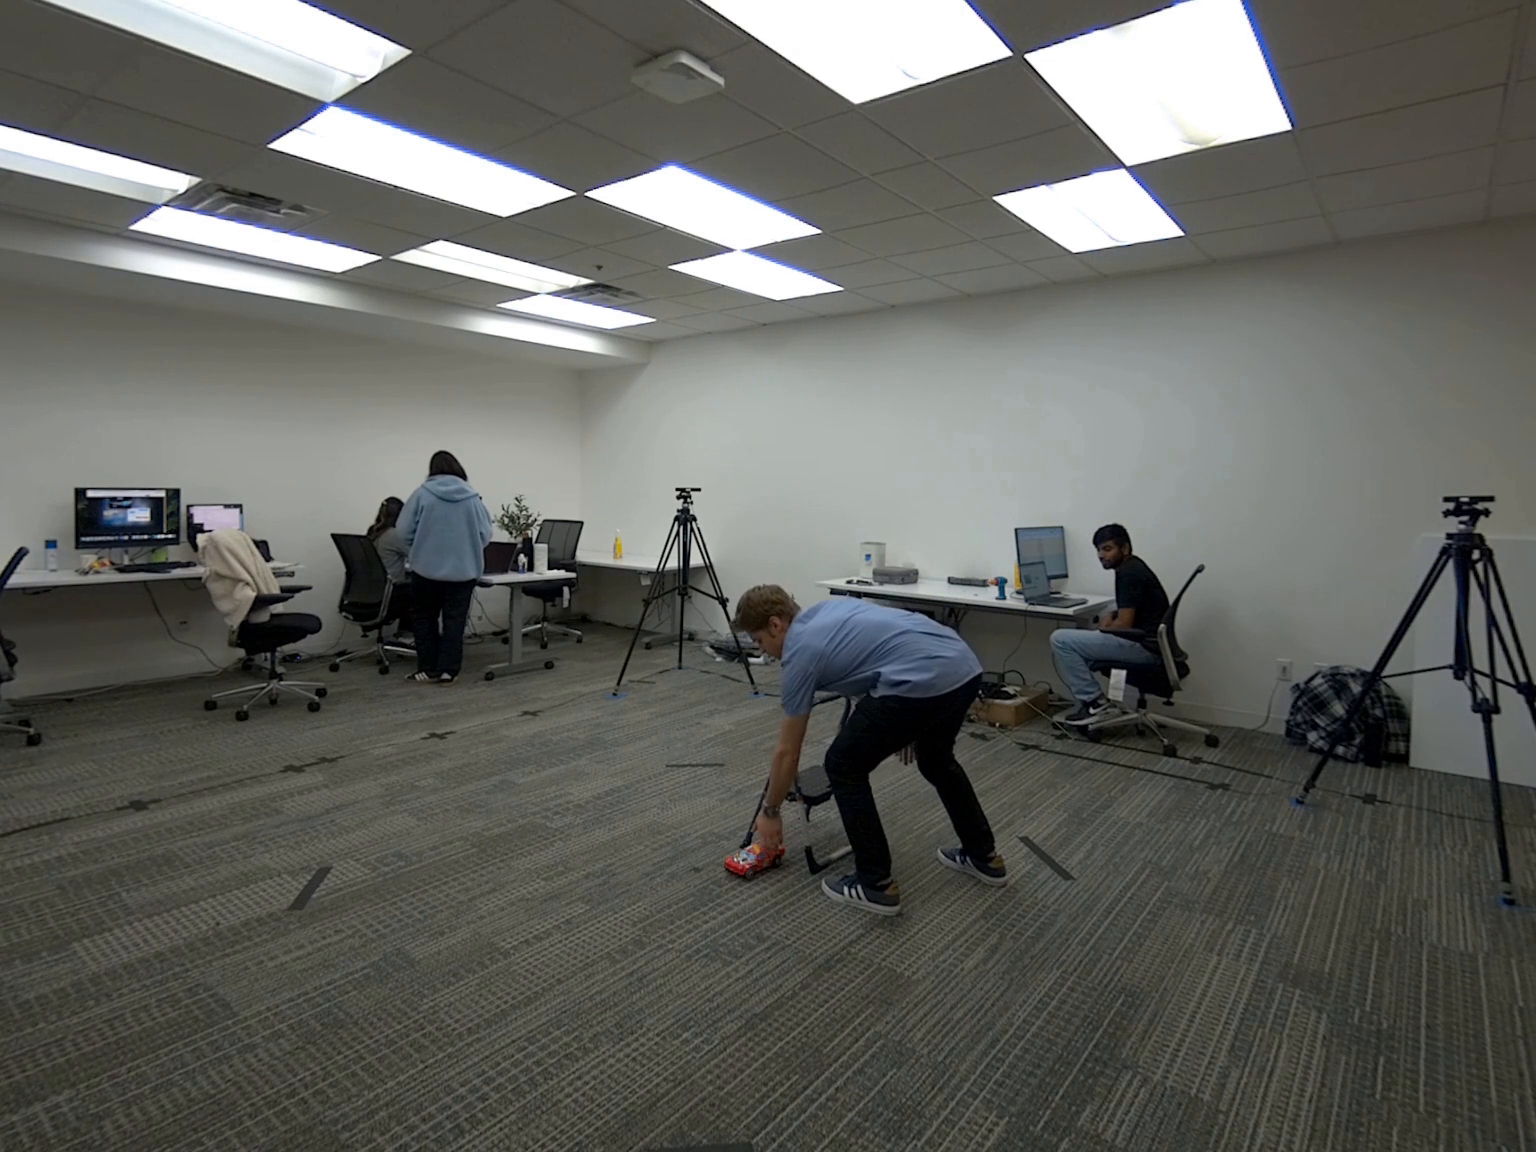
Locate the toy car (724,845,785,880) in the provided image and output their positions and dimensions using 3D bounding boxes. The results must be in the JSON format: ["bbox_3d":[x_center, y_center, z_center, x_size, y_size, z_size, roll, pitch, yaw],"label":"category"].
[{"bbox_3d":[-0.049,1.038,3.128,0.135,0.082,0.249,5,17,43],"label":"toy car"}]
